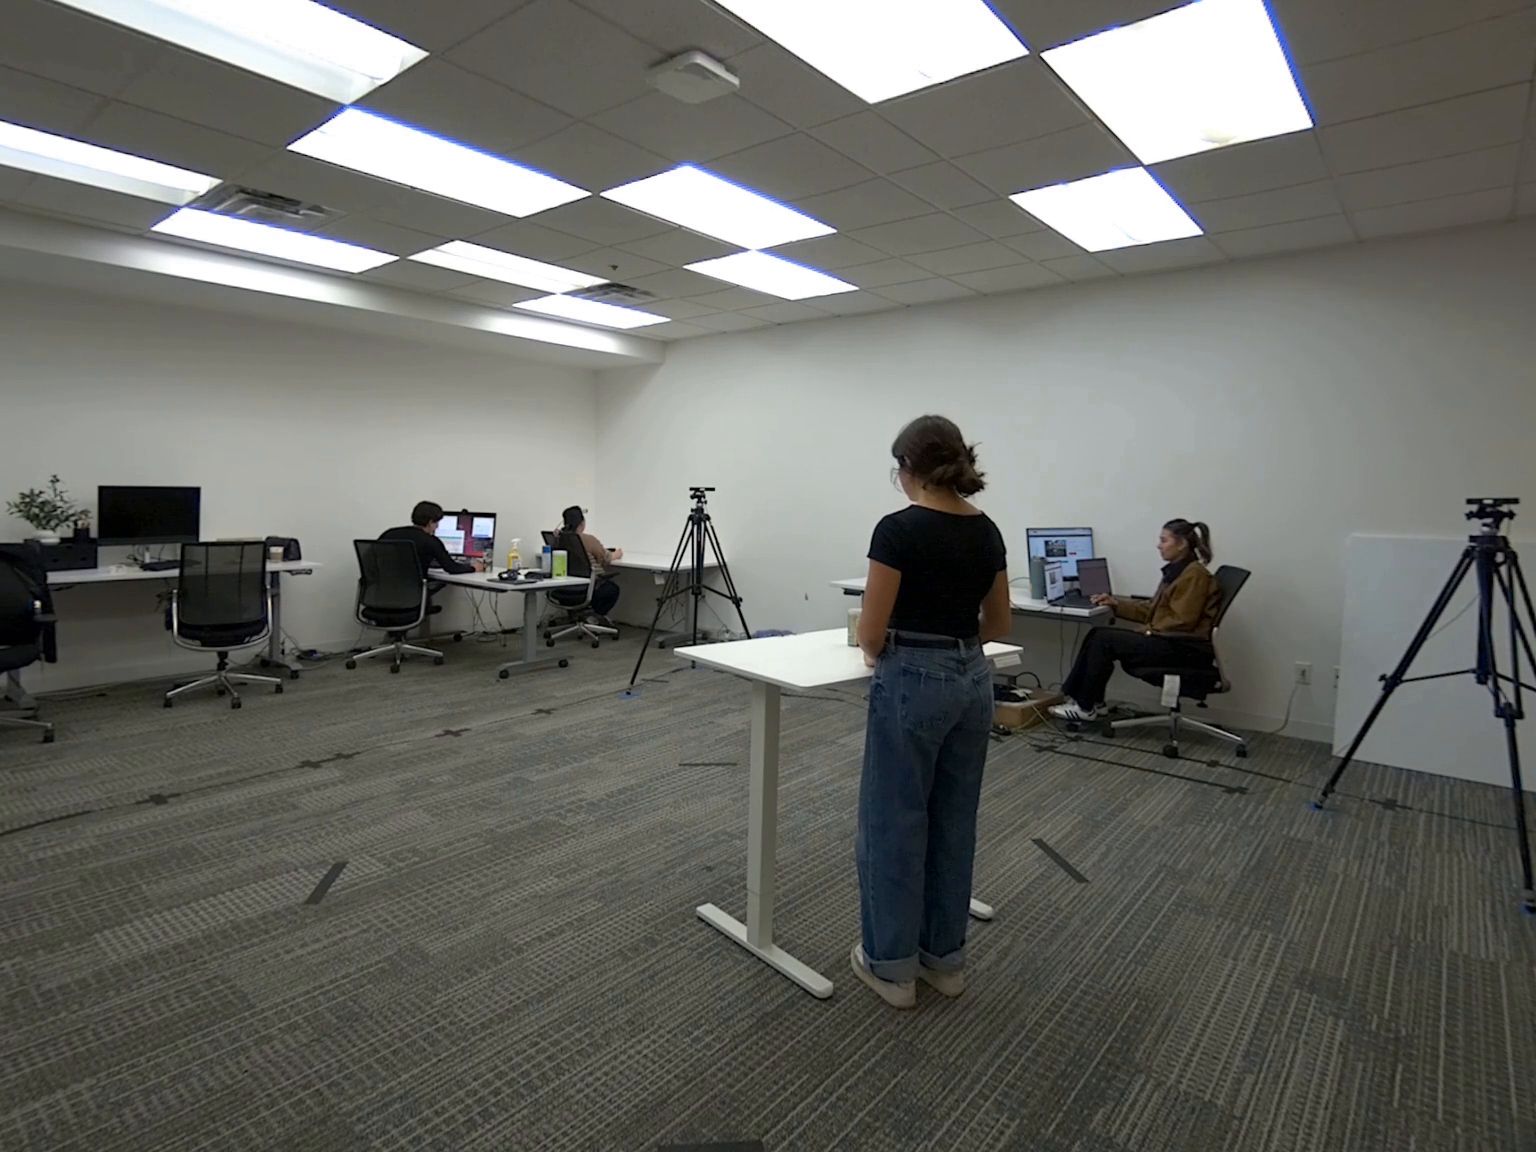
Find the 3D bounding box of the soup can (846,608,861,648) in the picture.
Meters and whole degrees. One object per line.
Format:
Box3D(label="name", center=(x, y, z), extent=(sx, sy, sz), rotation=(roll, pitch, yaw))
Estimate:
Box3D(label="soup can", center=(0.291, 0.168, 2.794), extent=(0.067, 0.121, 0.067), rotation=(3, 3, -2))
